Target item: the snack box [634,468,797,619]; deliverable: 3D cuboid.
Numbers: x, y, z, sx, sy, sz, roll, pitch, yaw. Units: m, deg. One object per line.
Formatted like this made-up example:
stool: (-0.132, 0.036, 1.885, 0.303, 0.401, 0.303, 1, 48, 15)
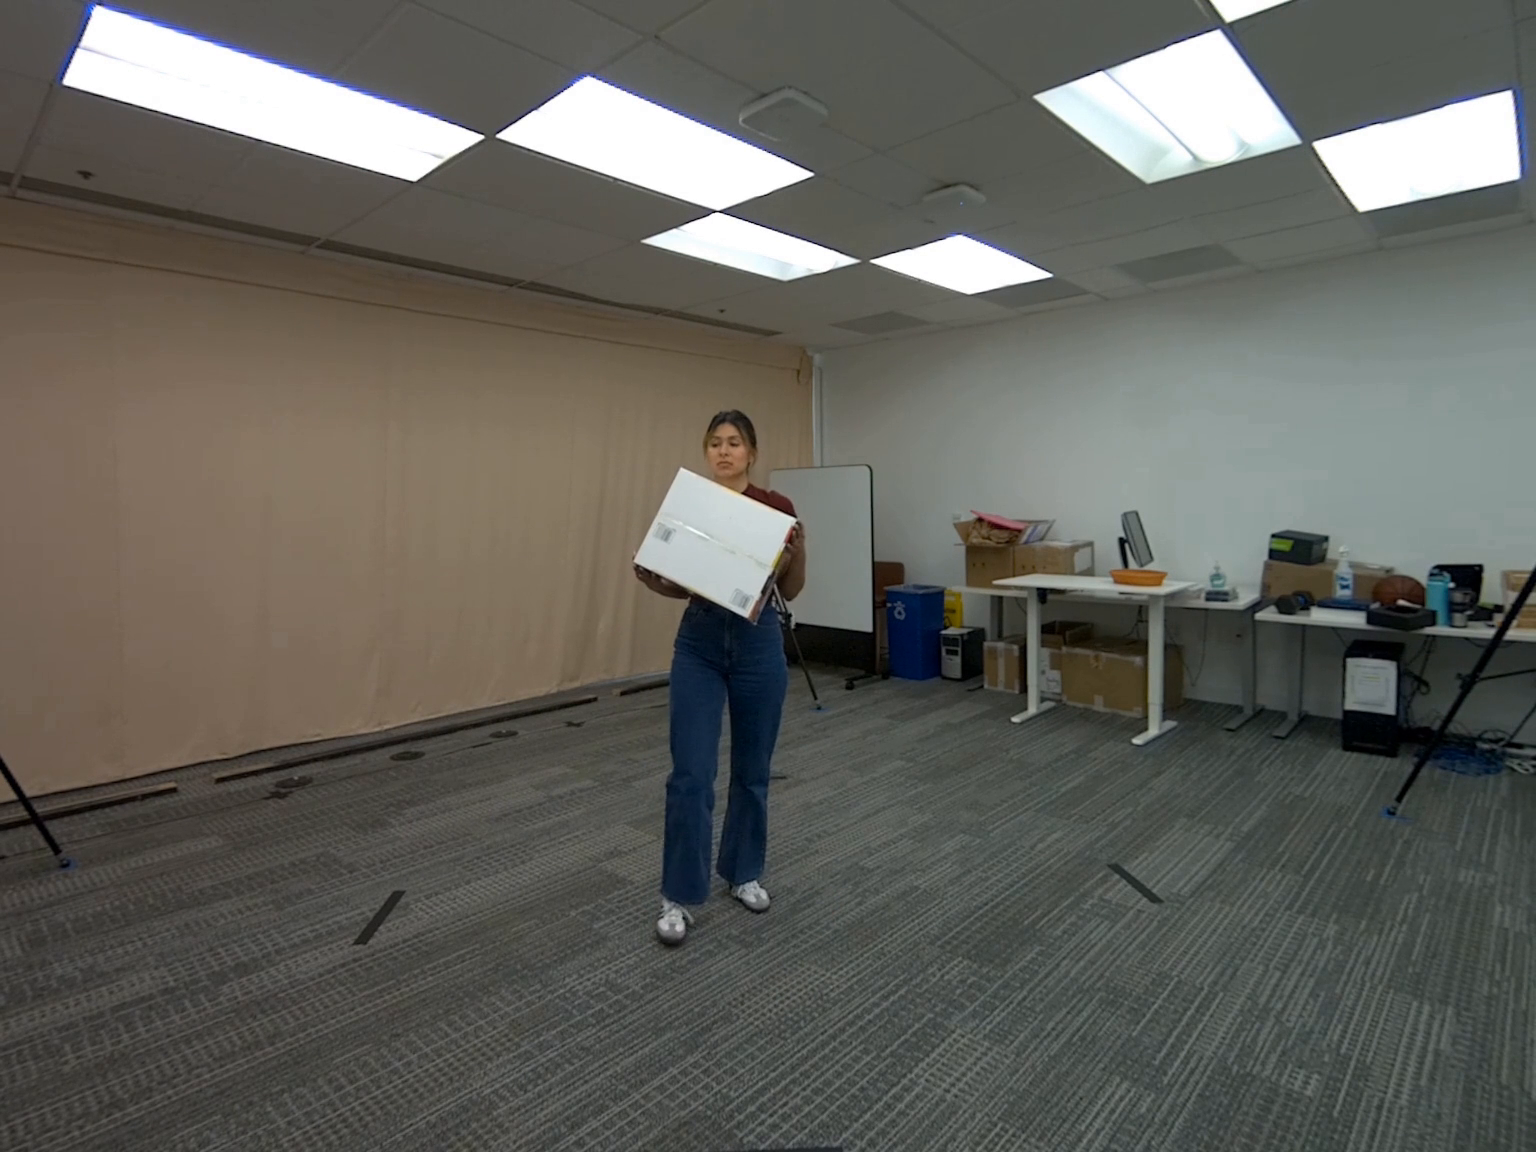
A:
snack box: (-0.156, -0.090, 2.663, 0.411, 0.340, 0.202, 25, -6, 11)
